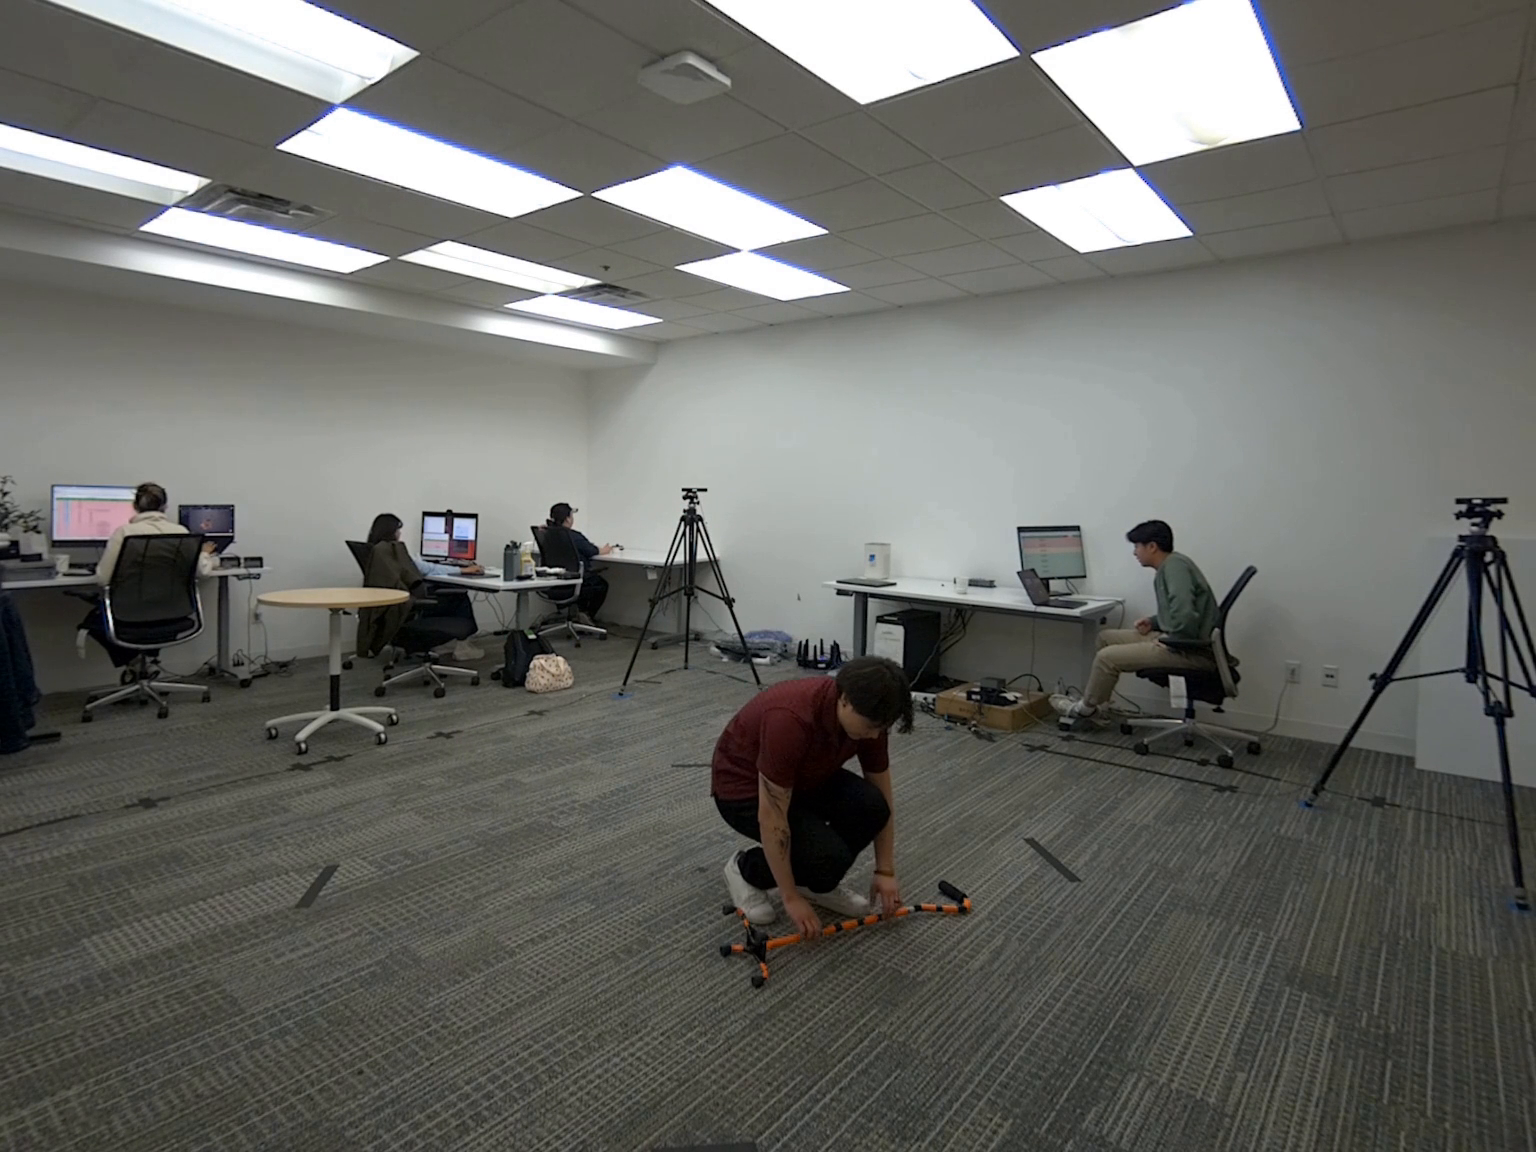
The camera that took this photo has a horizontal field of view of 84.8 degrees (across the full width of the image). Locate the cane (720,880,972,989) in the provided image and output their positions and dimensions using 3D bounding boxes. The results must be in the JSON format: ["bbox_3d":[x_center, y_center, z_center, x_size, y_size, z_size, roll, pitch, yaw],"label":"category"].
[{"bbox_3d":[0.291,1.057,2.682,0.882,0.151,0.213,1,6,-32],"label":"cane"}]
